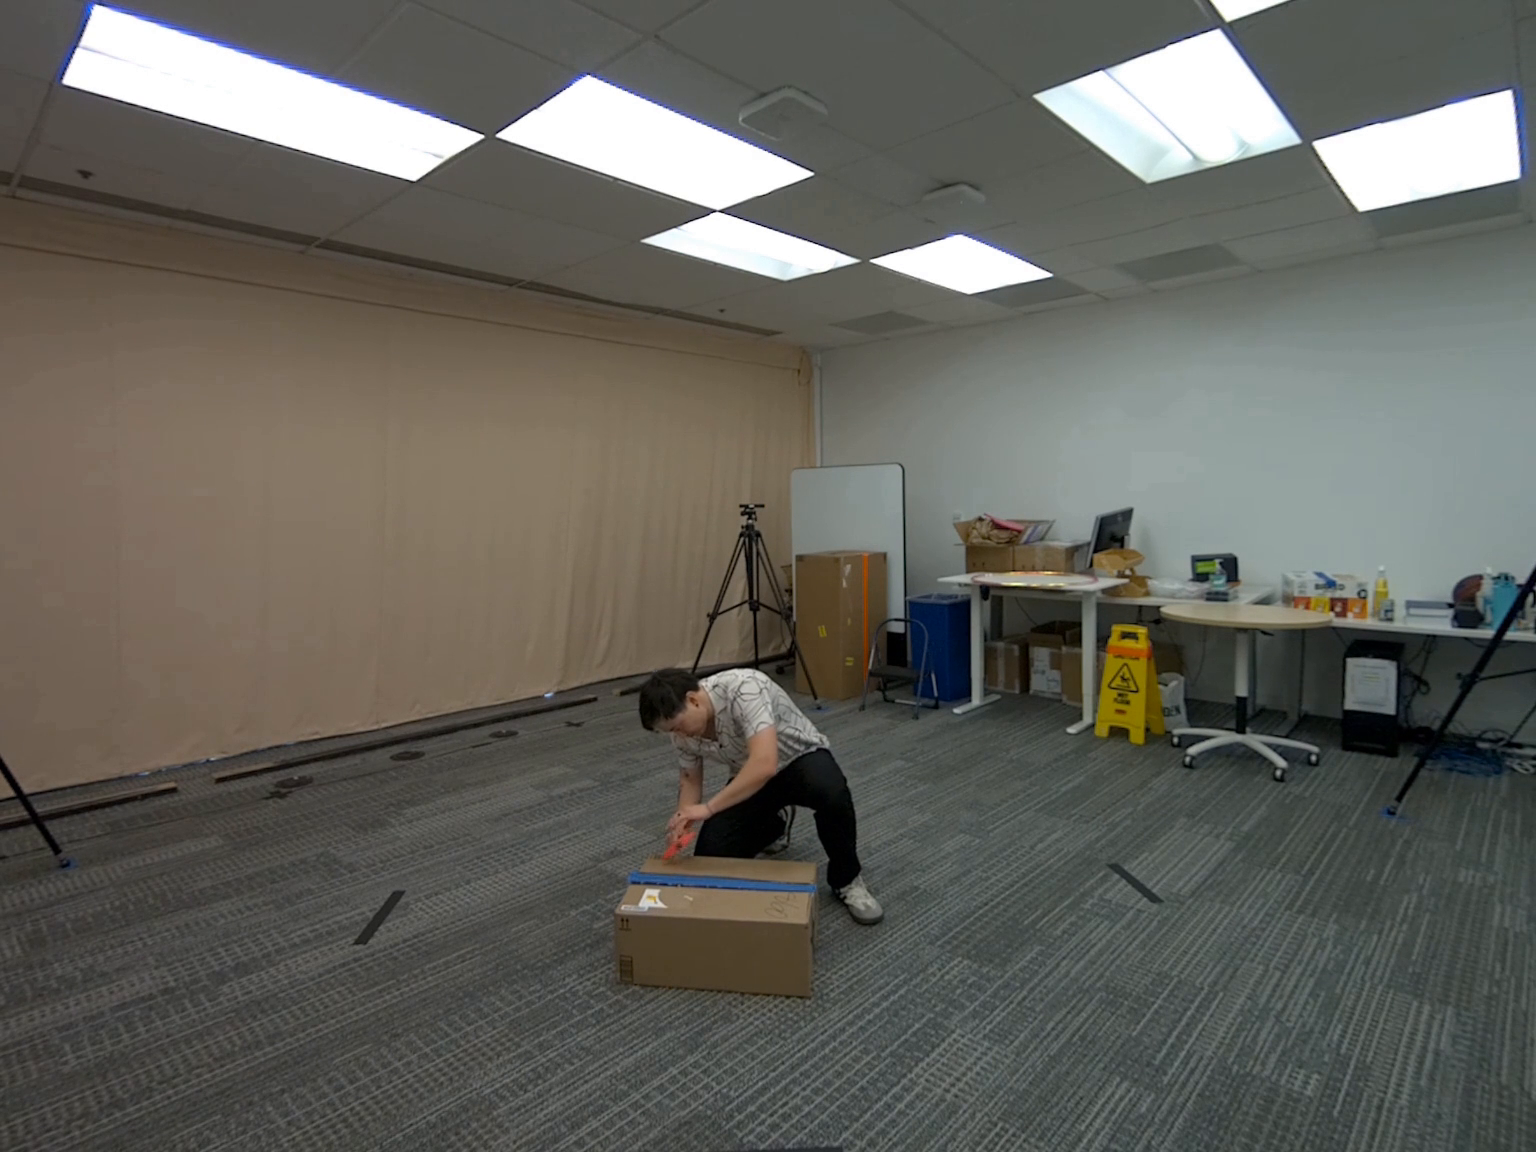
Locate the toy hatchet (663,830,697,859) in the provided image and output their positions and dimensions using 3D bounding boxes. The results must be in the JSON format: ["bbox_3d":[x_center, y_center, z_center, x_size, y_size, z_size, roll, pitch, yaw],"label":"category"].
[{"bbox_3d":[-0.303,0.913,2.898,0.130,0.030,0.270,-45,-1,-15],"label":"toy hatchet"}]
